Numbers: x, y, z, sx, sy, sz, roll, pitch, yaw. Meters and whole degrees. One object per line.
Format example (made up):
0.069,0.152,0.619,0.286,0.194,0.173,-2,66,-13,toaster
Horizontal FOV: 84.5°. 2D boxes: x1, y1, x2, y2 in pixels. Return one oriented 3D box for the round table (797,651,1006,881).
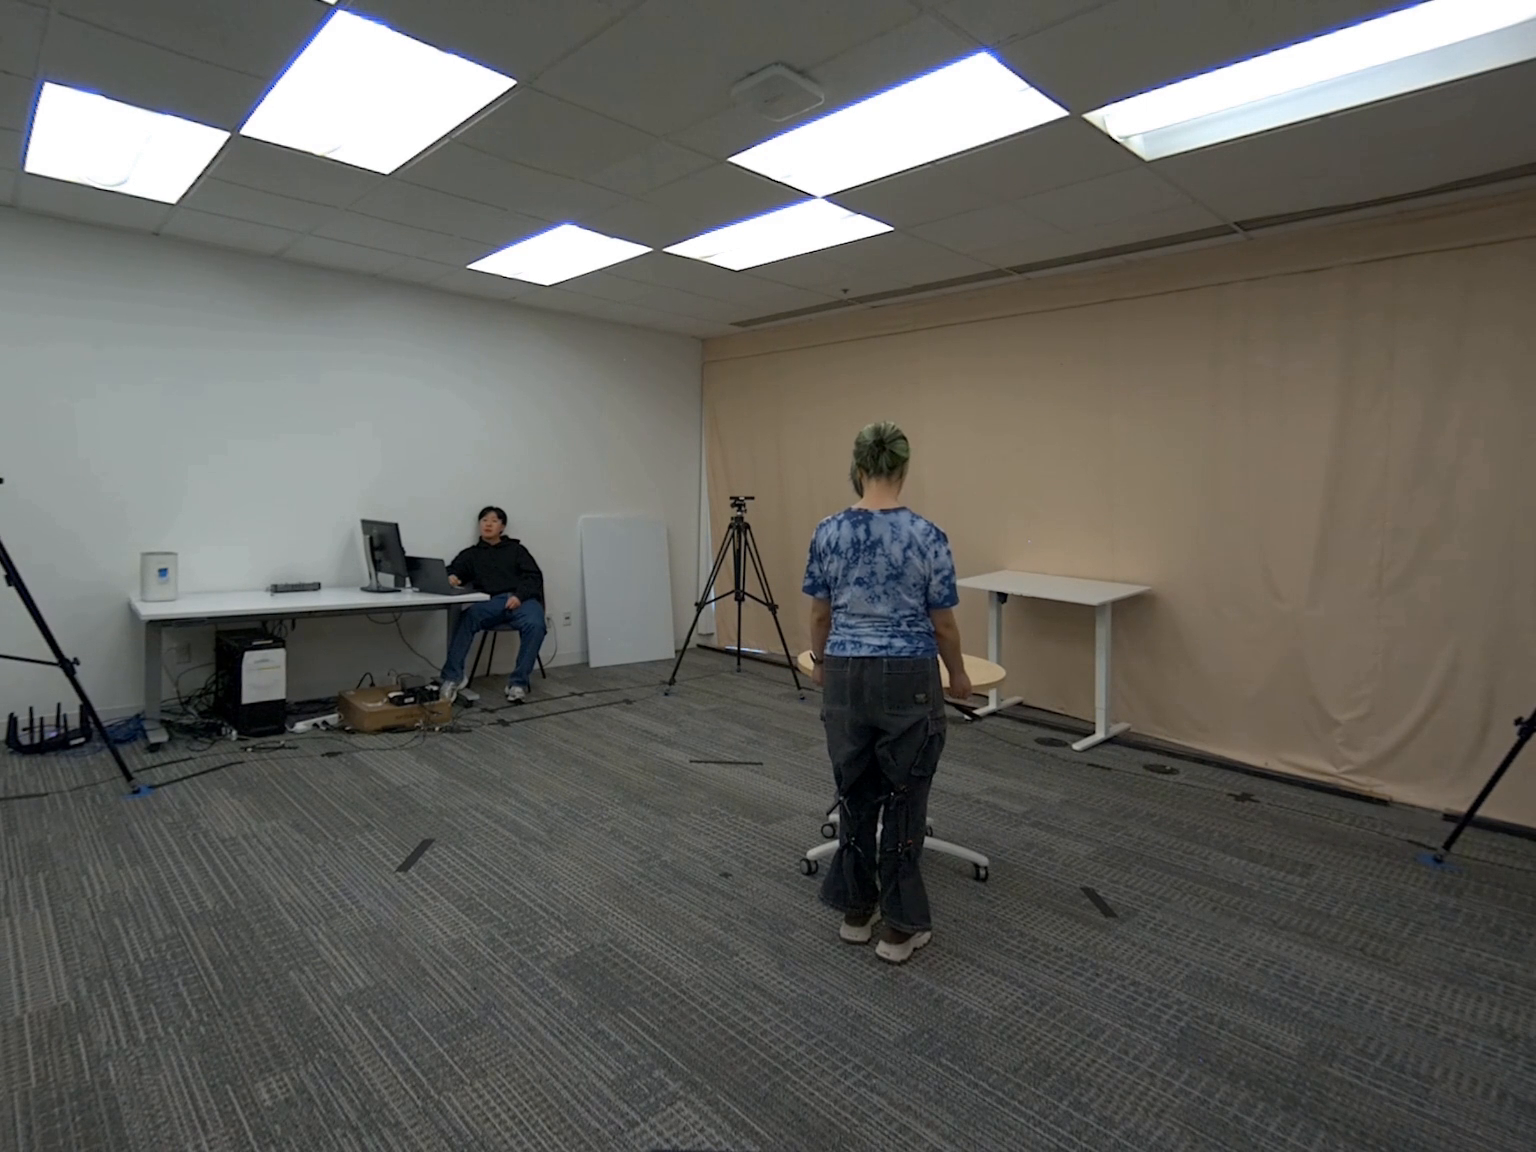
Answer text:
0.470,0.723,3.201,0.763,0.791,0.767,2,5,-2,round table
